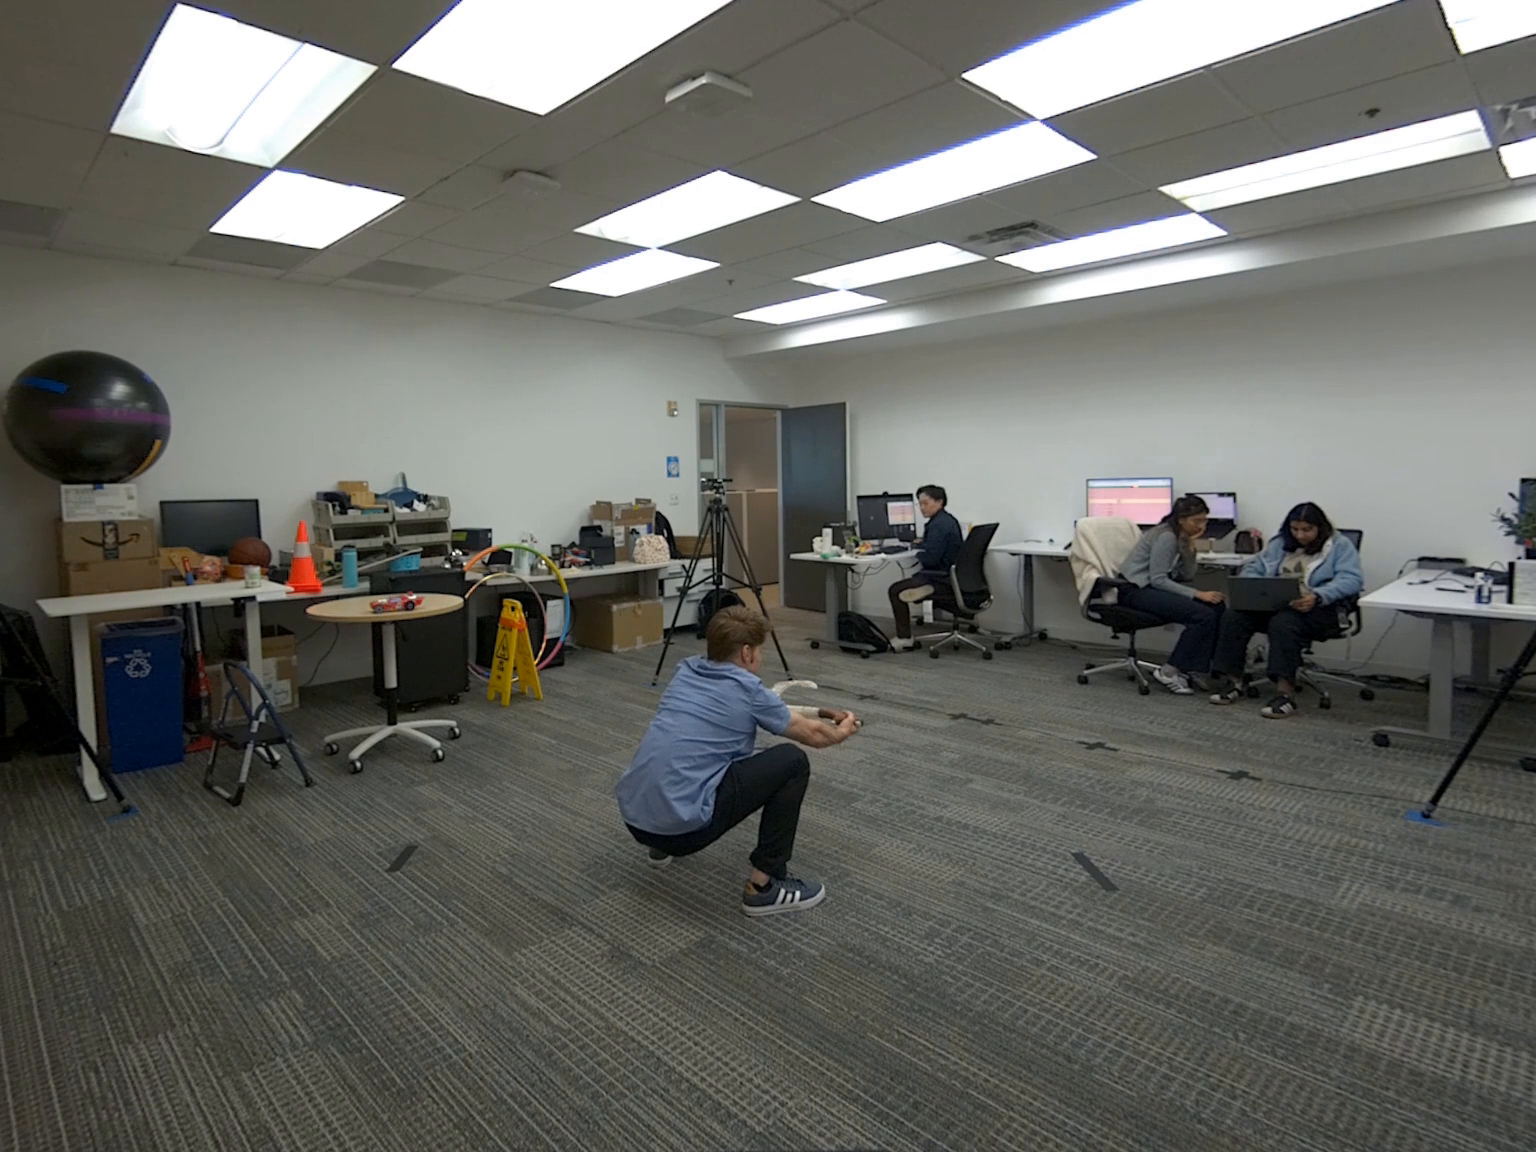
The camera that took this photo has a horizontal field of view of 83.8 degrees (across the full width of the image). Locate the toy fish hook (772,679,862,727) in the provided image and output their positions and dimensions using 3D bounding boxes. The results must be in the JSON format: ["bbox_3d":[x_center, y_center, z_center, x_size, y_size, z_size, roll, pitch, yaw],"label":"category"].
[{"bbox_3d":[0.192,0.513,3.461,0.523,0.047,0.224,8,39,42],"label":"toy fish hook"}]
